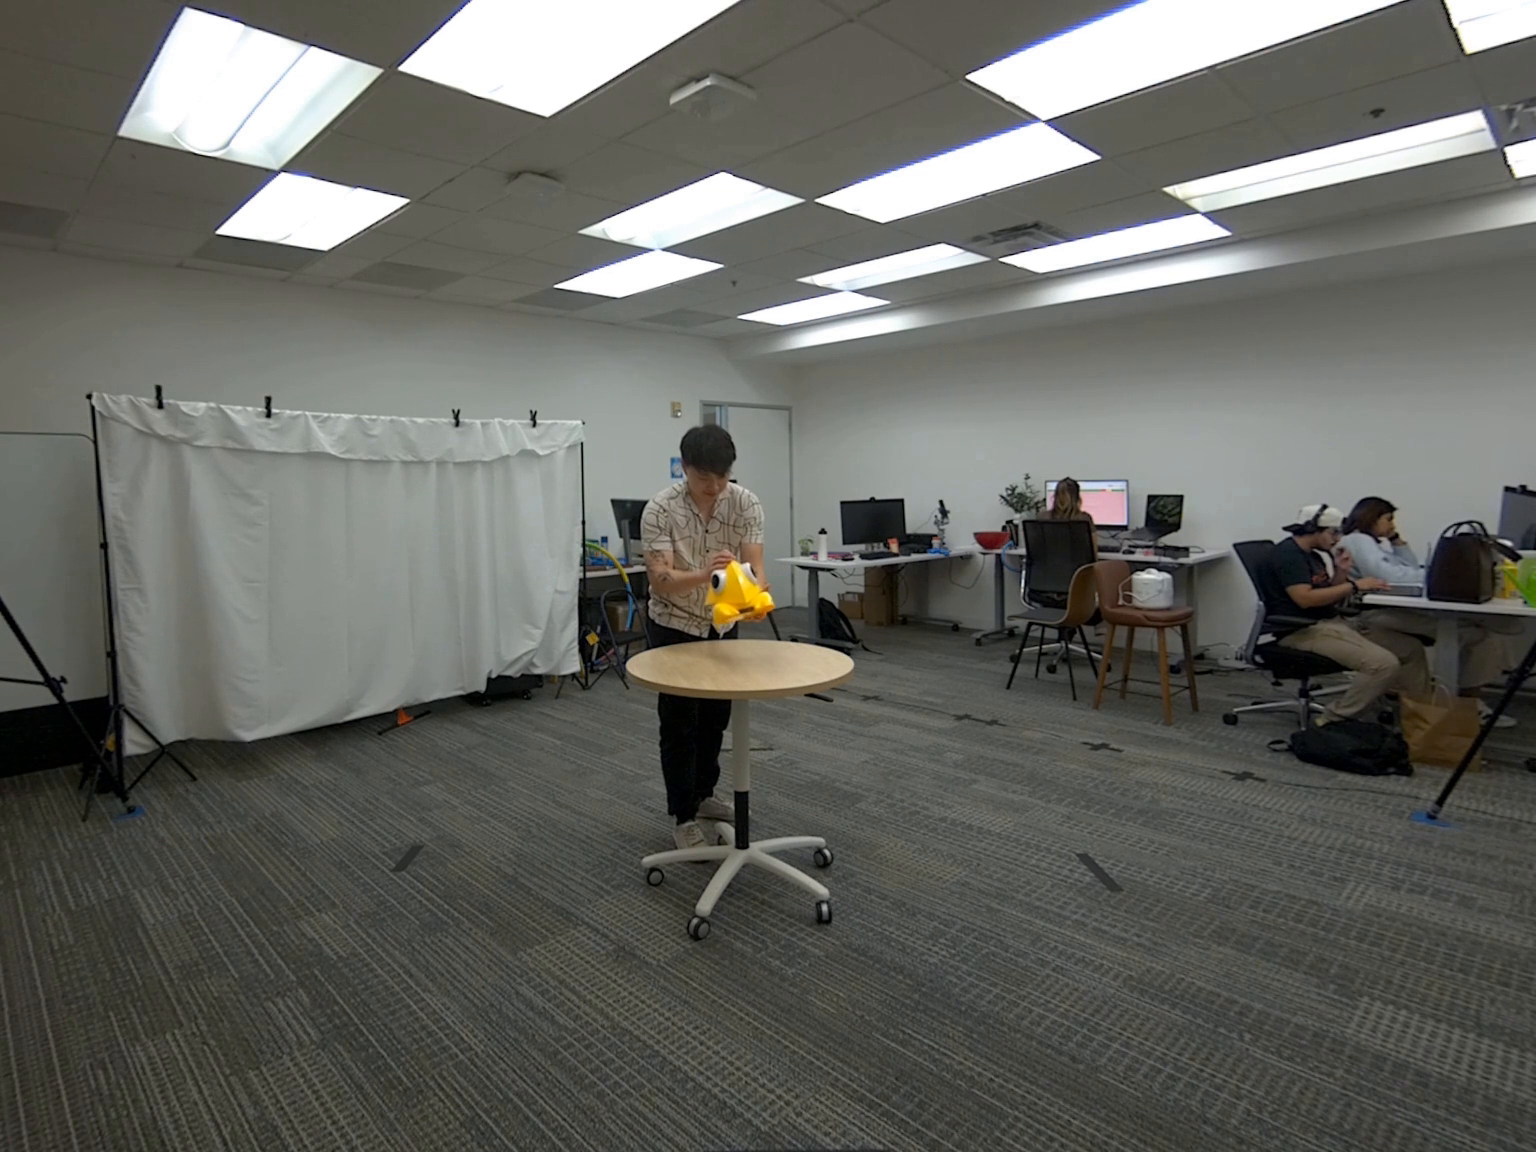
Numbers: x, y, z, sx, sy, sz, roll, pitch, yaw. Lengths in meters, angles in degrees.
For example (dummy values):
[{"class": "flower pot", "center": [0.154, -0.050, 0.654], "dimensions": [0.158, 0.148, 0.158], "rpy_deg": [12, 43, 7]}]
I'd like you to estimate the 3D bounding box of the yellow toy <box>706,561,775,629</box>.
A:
[{"class": "yellow toy", "center": [-0.106, 0.022, 2.788], "dimensions": [0.203, 0.234, 0.192], "rpy_deg": [-12, -12, -11]}]
